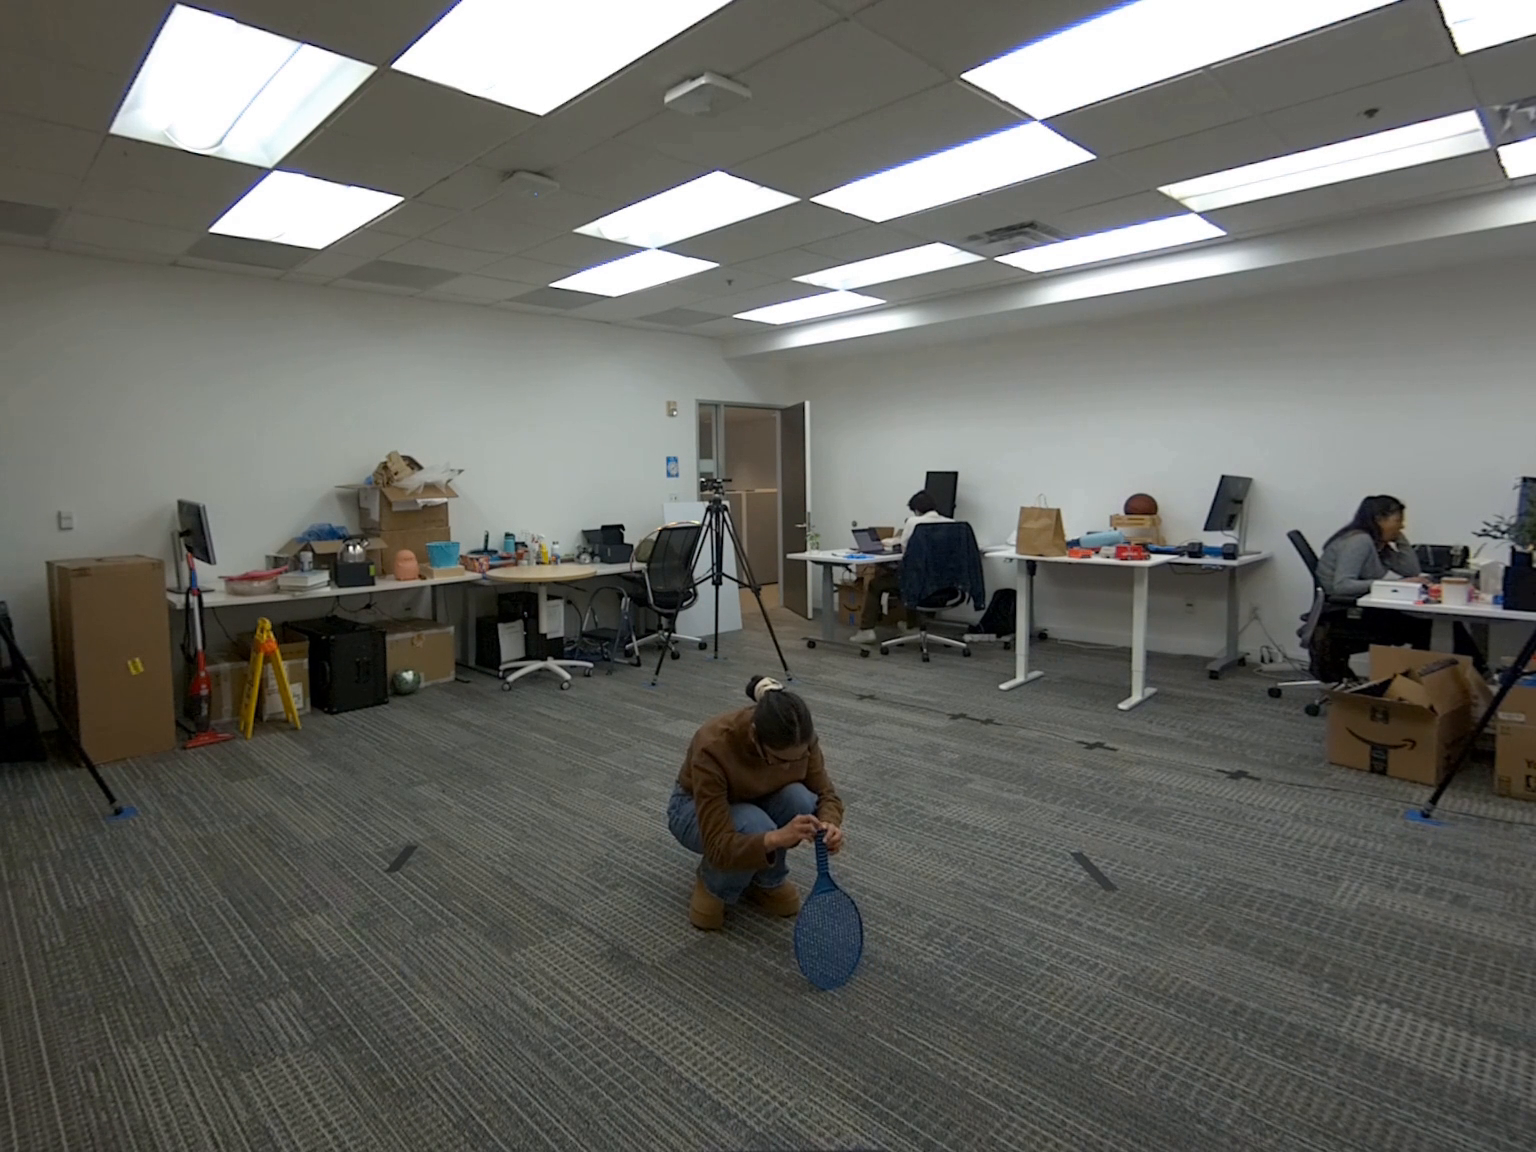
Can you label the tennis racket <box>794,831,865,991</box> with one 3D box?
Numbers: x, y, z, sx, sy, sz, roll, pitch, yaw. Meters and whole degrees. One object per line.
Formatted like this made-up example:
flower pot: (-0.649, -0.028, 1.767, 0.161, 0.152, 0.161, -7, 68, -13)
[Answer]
tennis racket: (0.166, 0.916, 2.352, 0.210, 0.433, 0.032, -4, -1, -22)
